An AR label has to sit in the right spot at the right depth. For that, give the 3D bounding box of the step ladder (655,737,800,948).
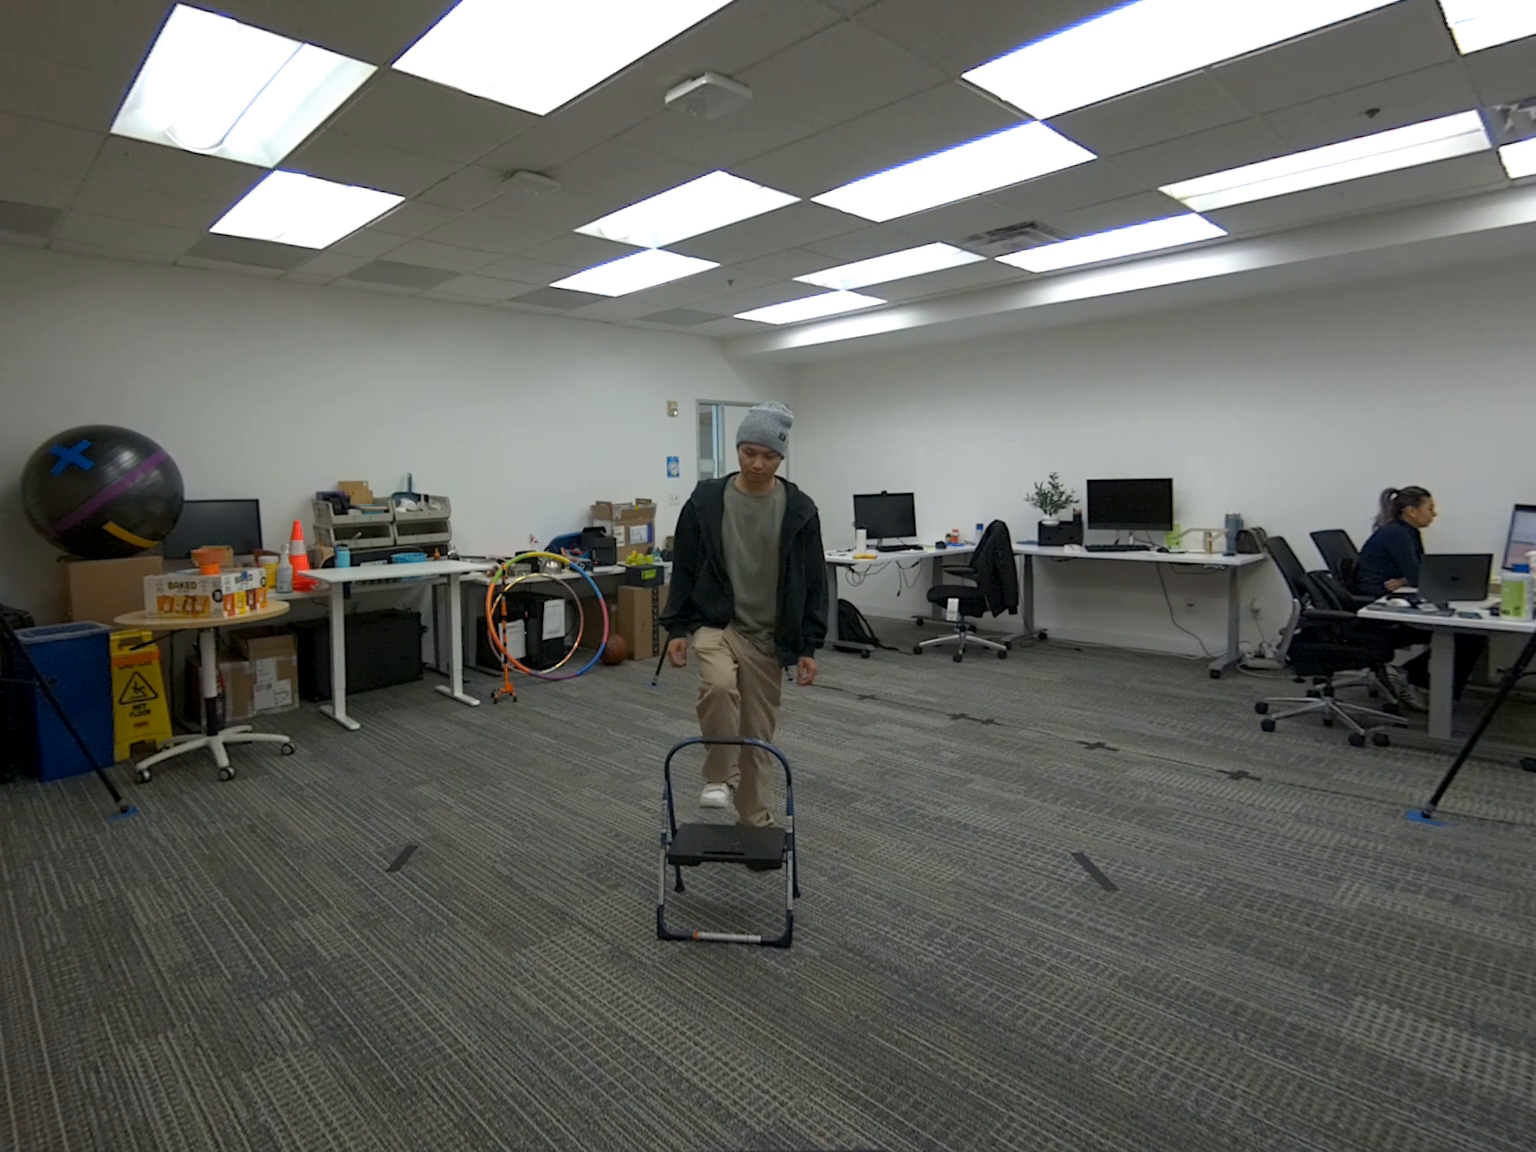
[{"bbox_3d":[-0.124,0.791,2.718,0.434,0.603,0.348,0,5,6],"label":"step ladder"}]
